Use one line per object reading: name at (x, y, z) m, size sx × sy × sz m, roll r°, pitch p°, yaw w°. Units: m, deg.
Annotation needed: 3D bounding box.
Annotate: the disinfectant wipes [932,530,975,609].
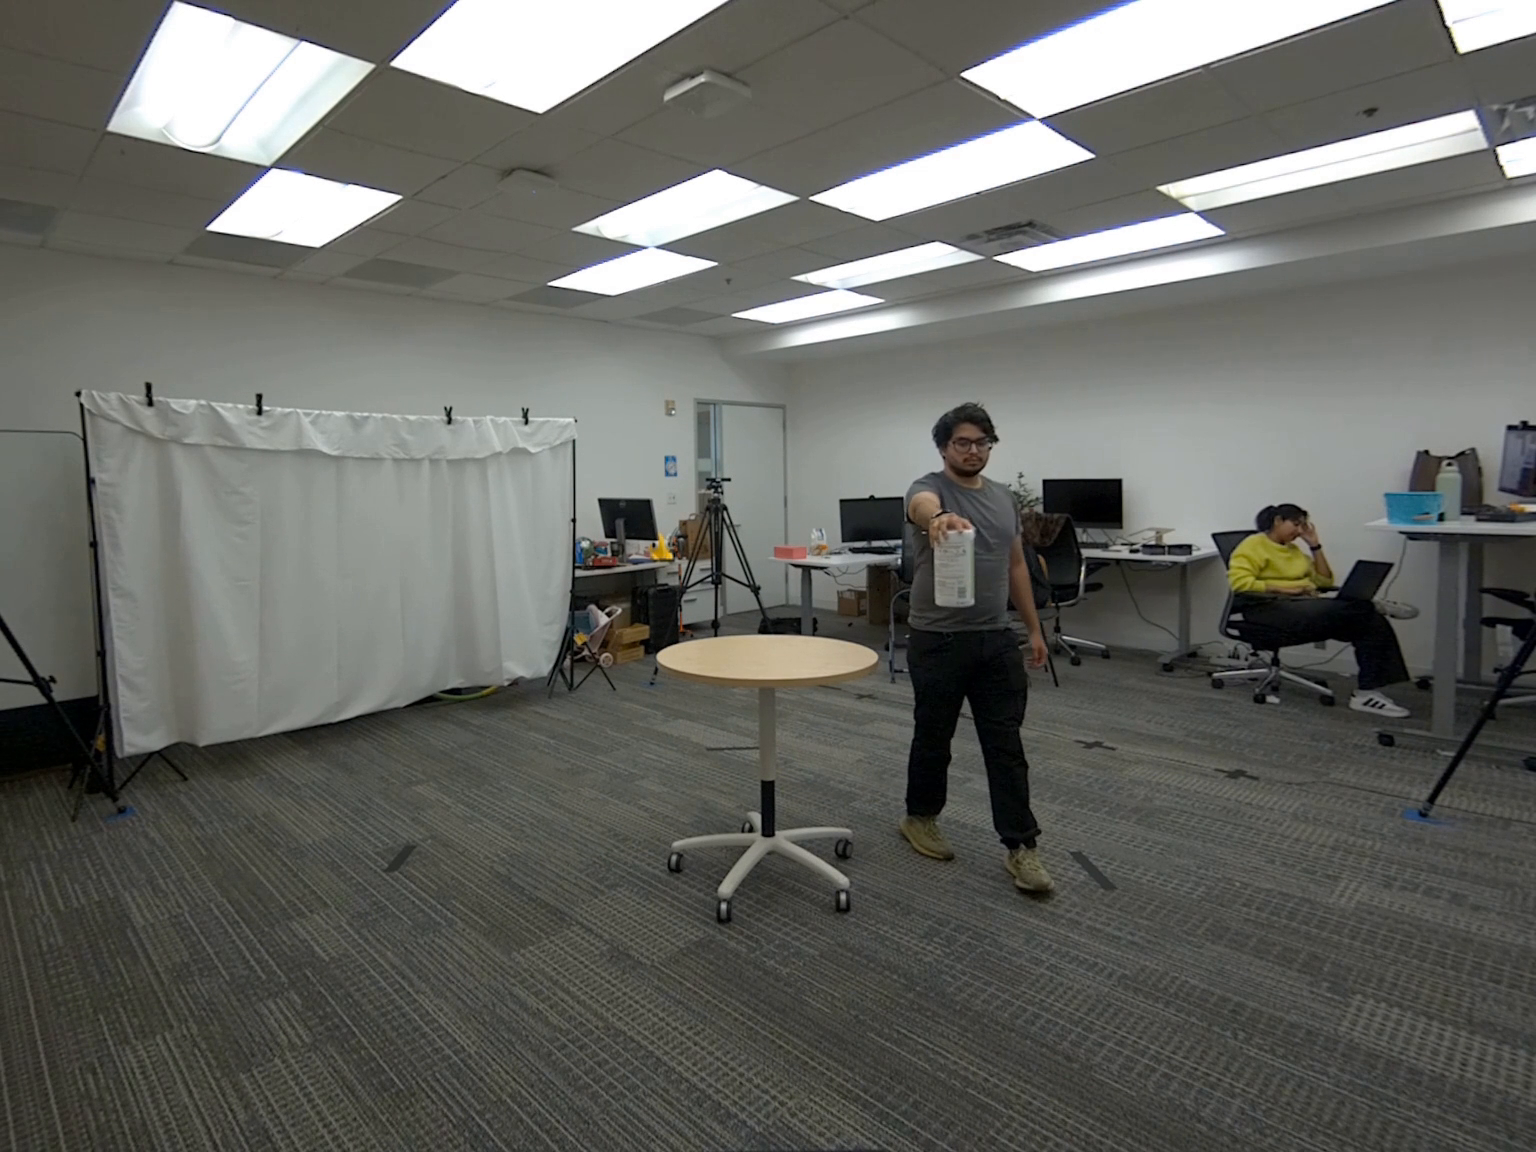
disinfectant wipes at (0.538, -0.026, 2.417) m, size 0.118 × 0.216 × 0.118 m, roll -1°, pitch 5°, yaw -2°
